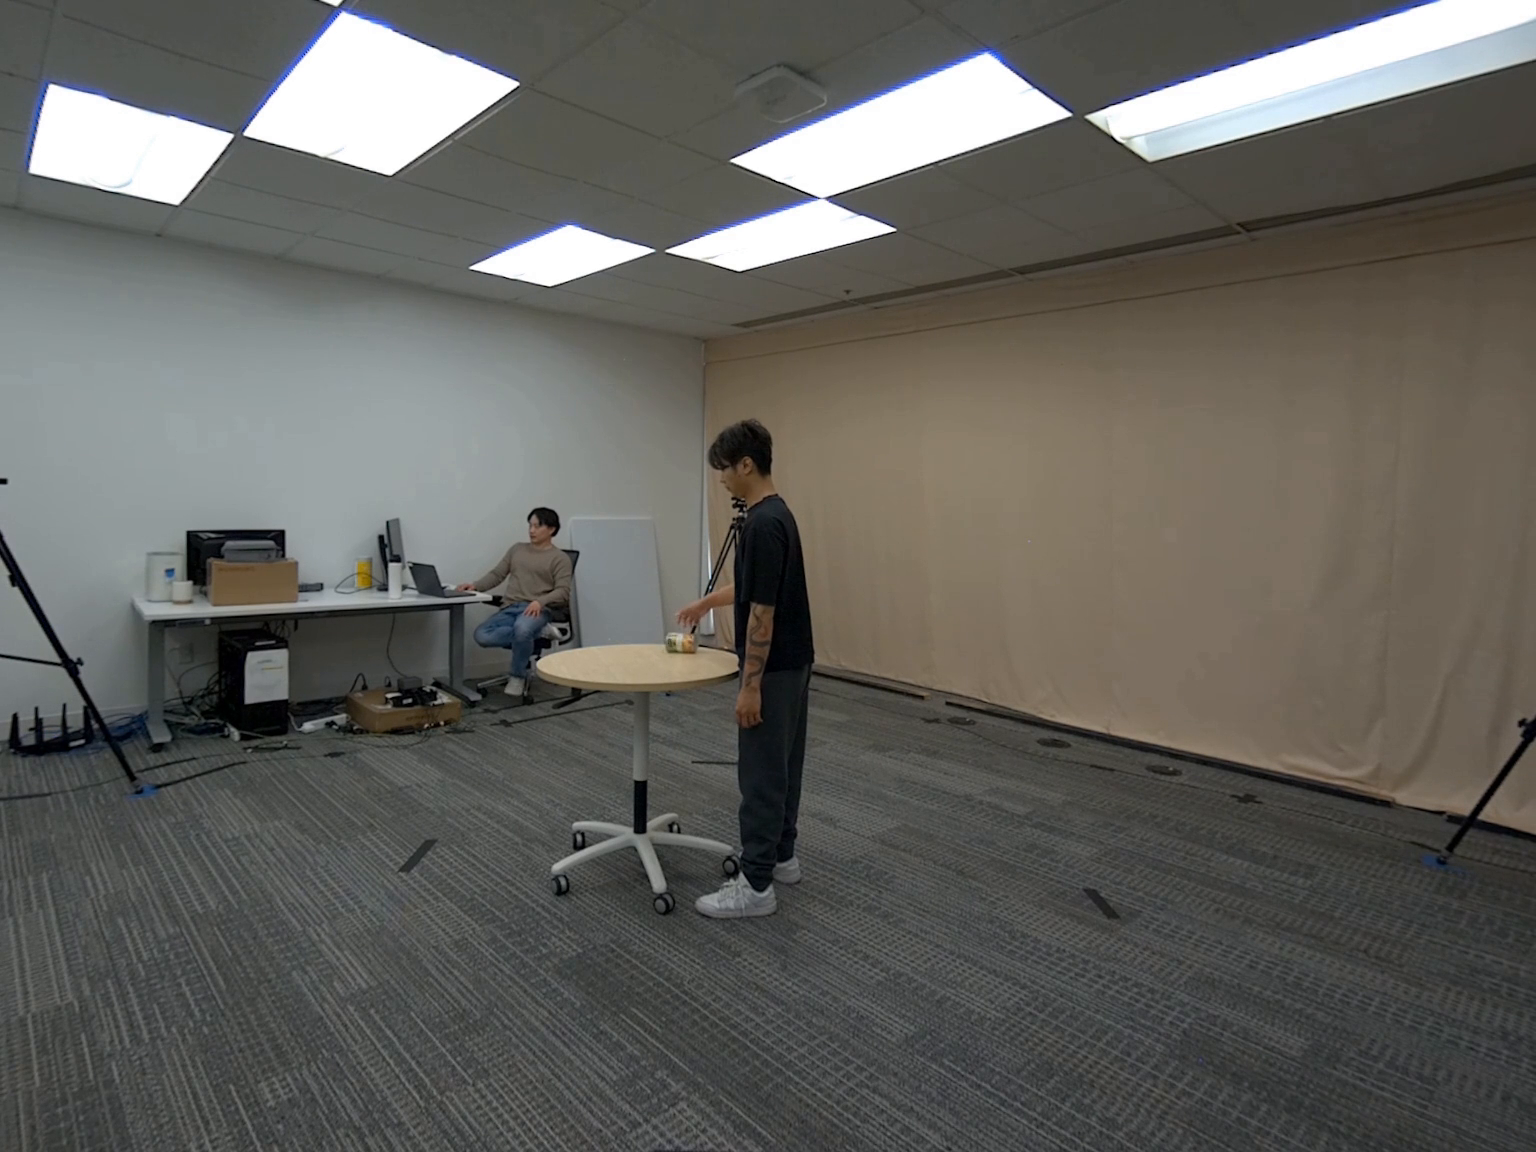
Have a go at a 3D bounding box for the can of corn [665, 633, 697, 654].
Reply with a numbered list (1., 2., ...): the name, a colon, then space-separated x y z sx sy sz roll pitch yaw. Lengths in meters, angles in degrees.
1. can of corn: -0.349 0.264 3.314 0.111 0.074 0.074 3 4 6
